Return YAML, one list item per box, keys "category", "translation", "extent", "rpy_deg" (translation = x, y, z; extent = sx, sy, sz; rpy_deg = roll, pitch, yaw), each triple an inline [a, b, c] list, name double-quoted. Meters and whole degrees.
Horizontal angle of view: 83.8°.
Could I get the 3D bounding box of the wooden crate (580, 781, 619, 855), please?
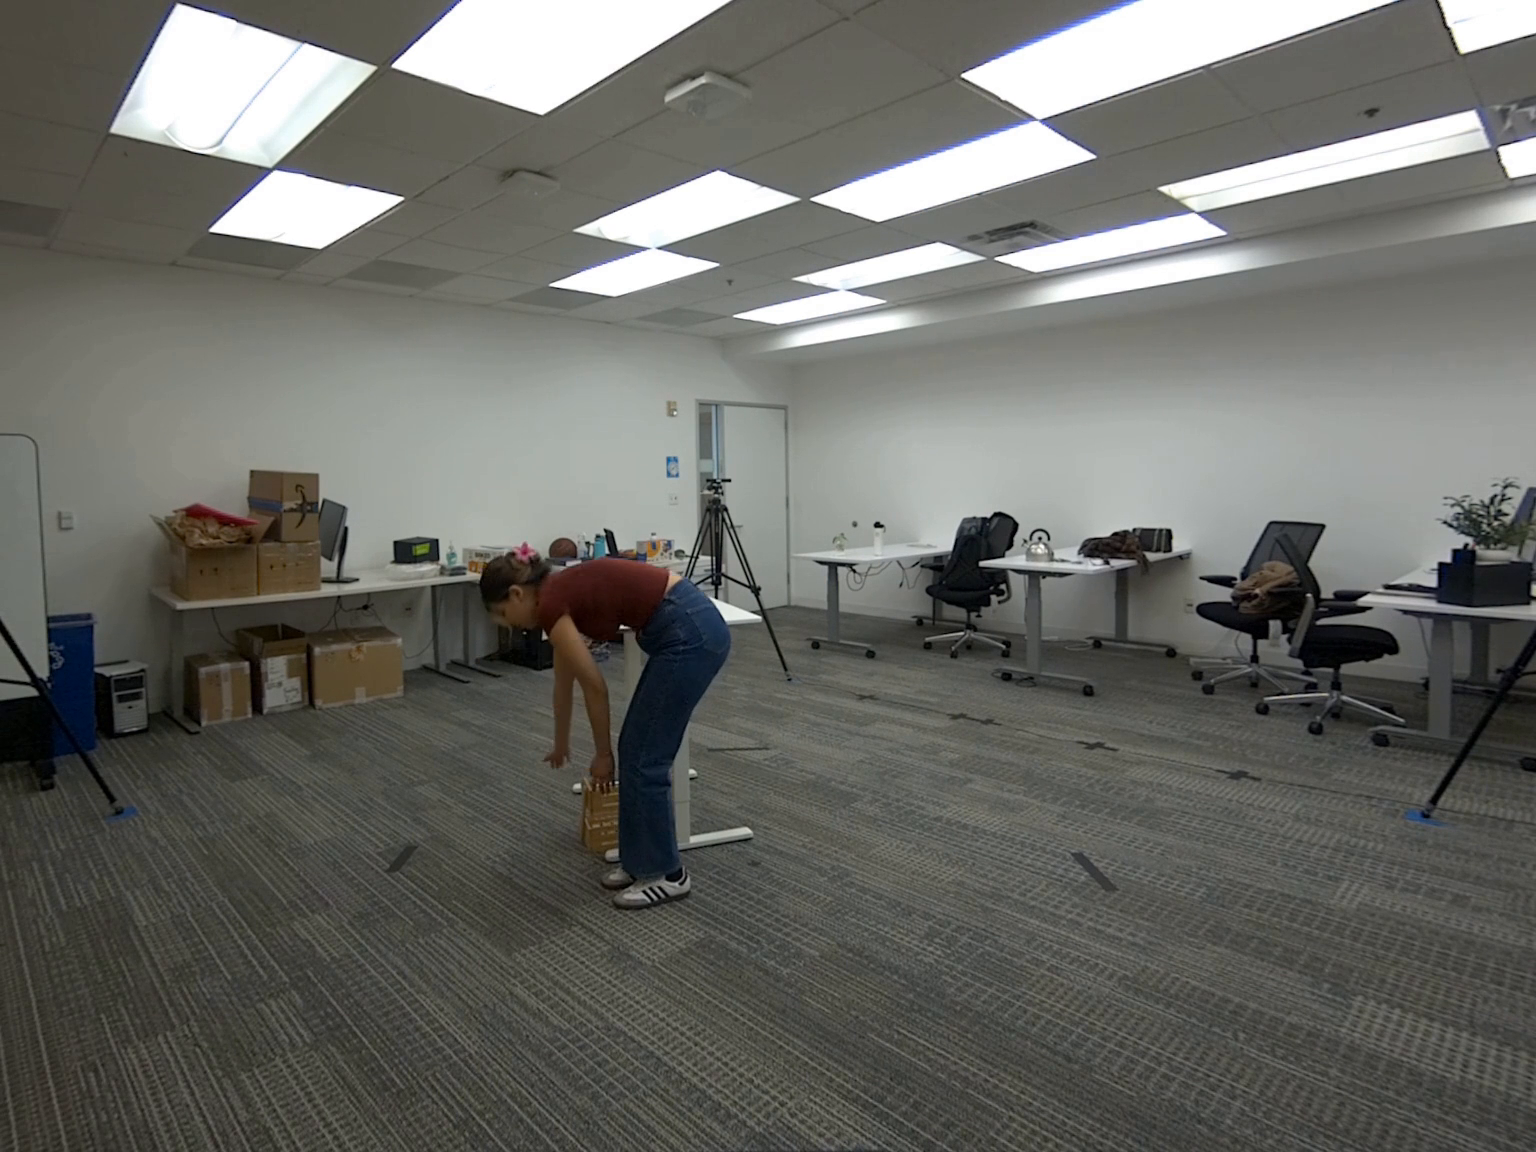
- category: "wooden crate"
  translation: [-0.573, 0.897, 3.347]
  extent: [0.319, 0.272, 0.308]
  rpy_deg: [-3, 6, -20]
